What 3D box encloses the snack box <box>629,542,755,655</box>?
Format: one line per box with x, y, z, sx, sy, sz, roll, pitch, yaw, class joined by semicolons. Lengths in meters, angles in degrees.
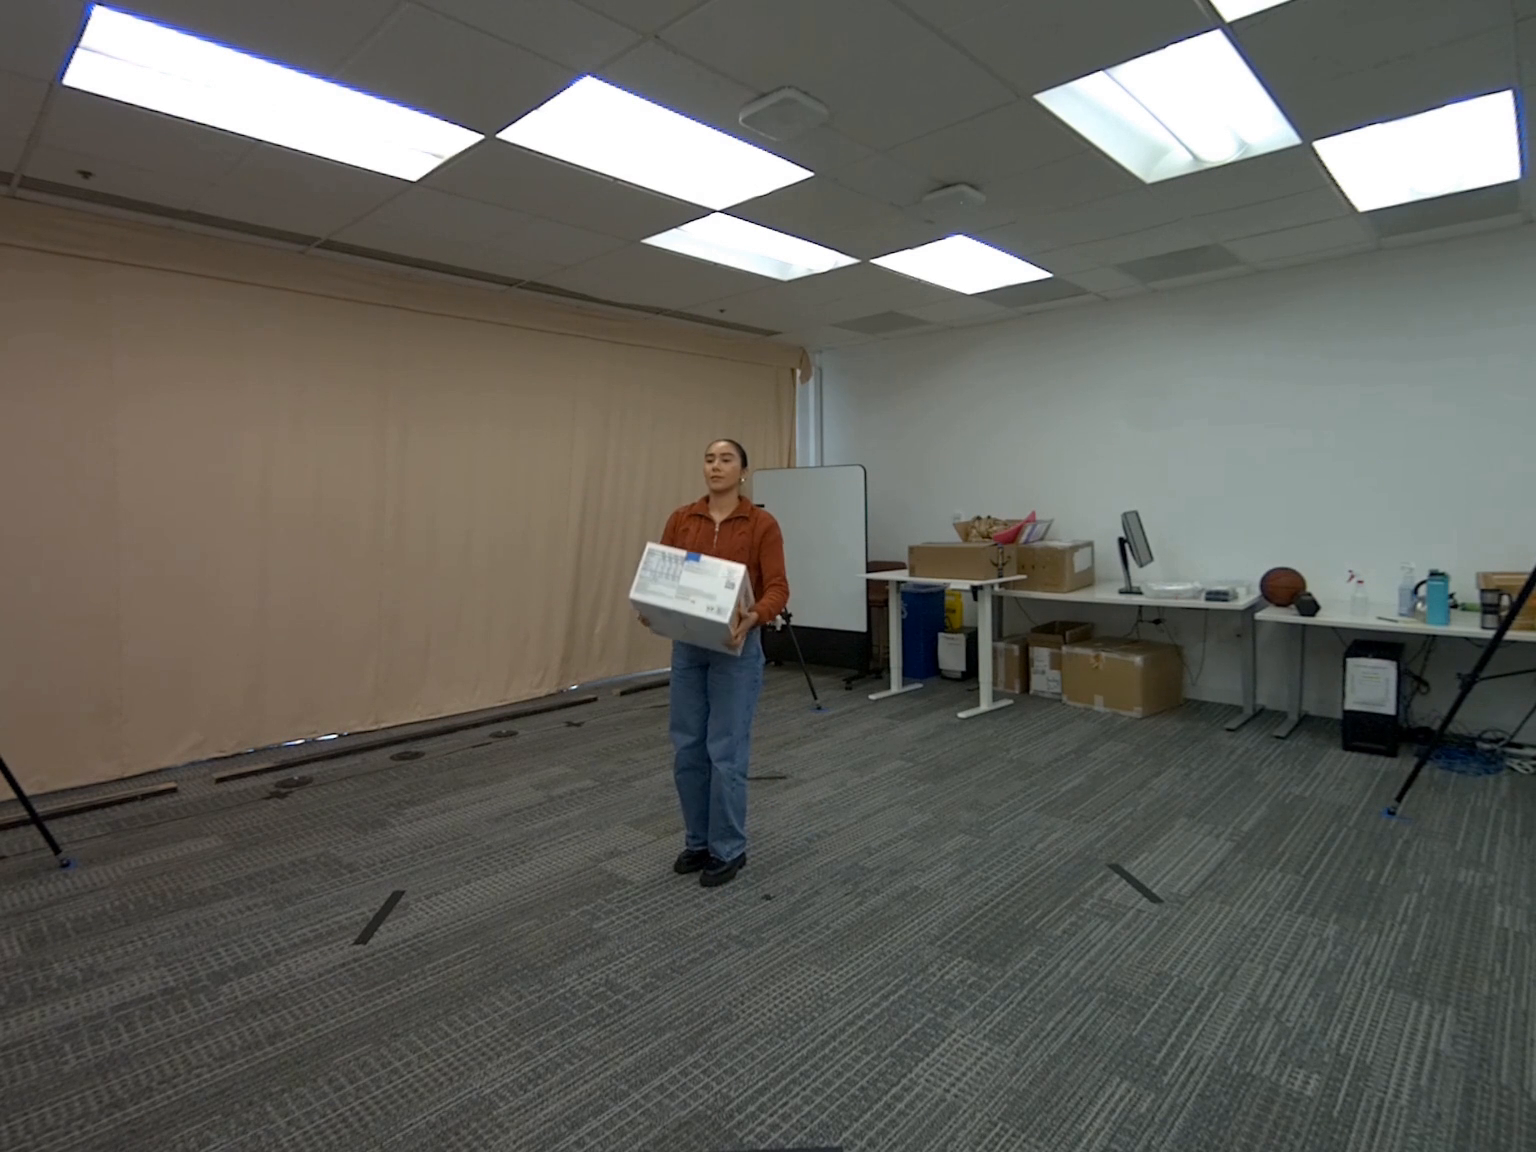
-0.252;0.046;2.857;0.345;0.207;0.397;13;-20;10;snack box
